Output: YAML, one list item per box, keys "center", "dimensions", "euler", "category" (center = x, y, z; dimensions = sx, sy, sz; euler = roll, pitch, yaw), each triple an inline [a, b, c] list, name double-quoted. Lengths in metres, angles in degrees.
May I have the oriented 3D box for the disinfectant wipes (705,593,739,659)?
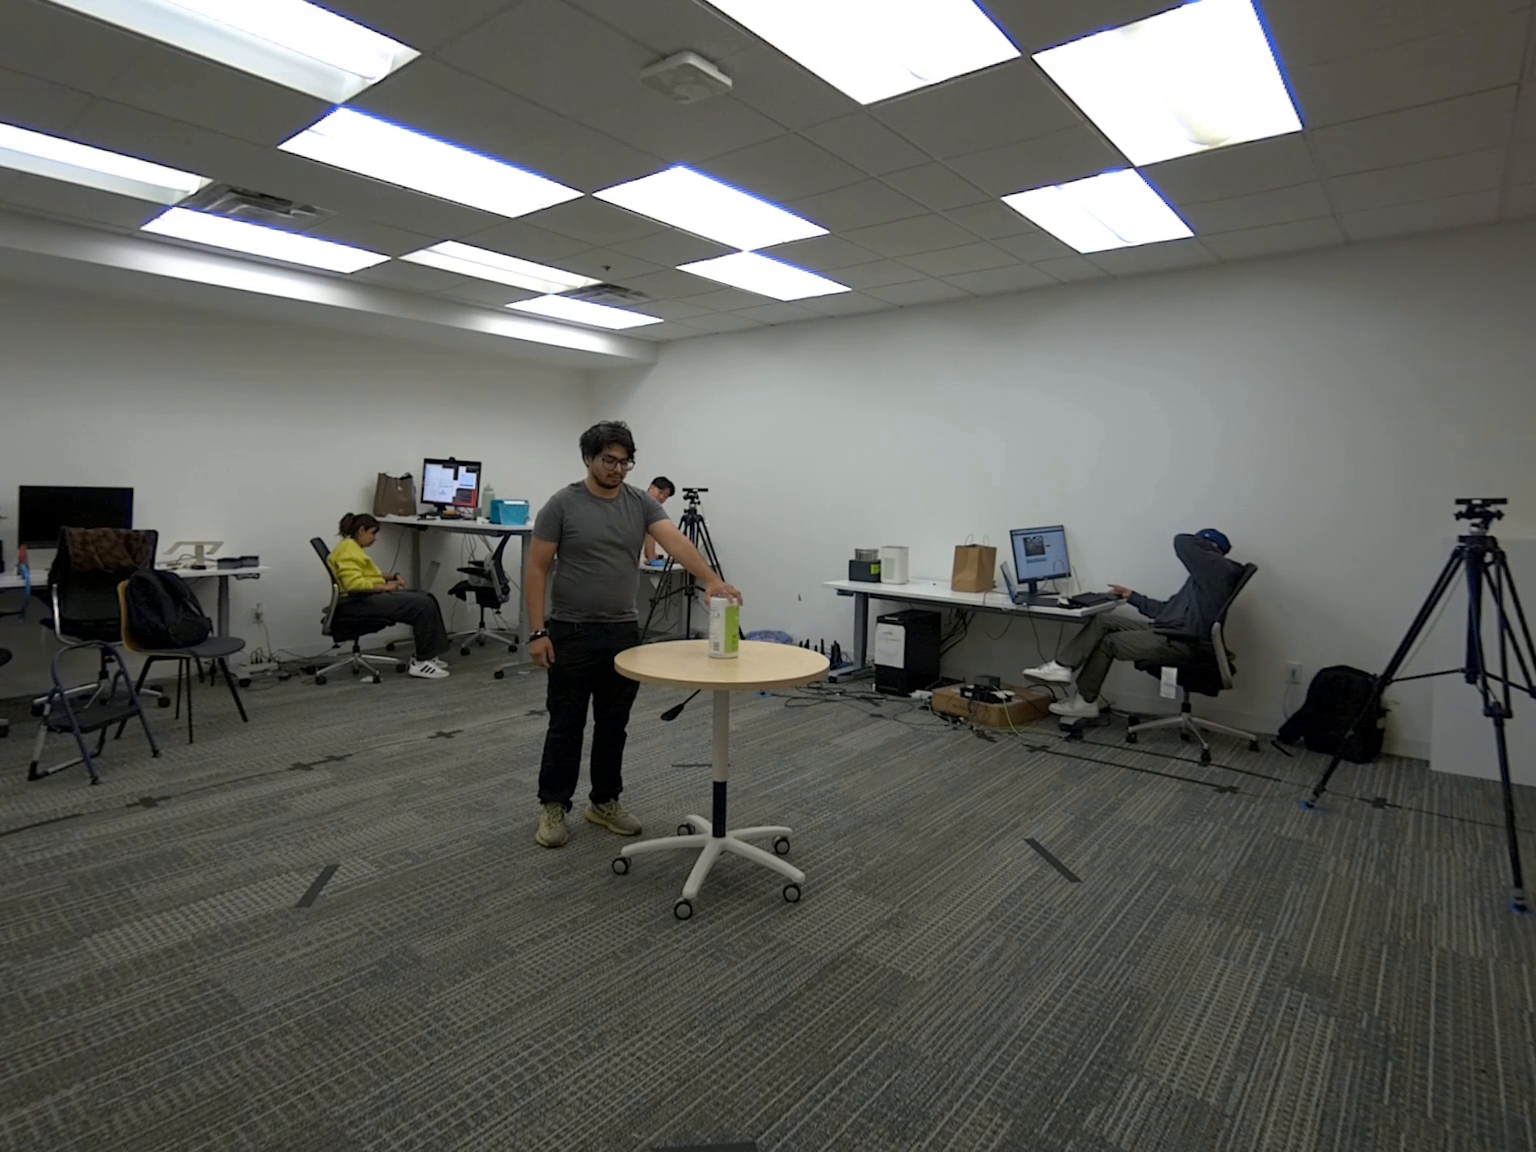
- center: [-0.171, 0.180, 3.074]
  dimensions: [0.118, 0.217, 0.118]
  euler: [1, 3, -2]
  category: "disinfectant wipes"
